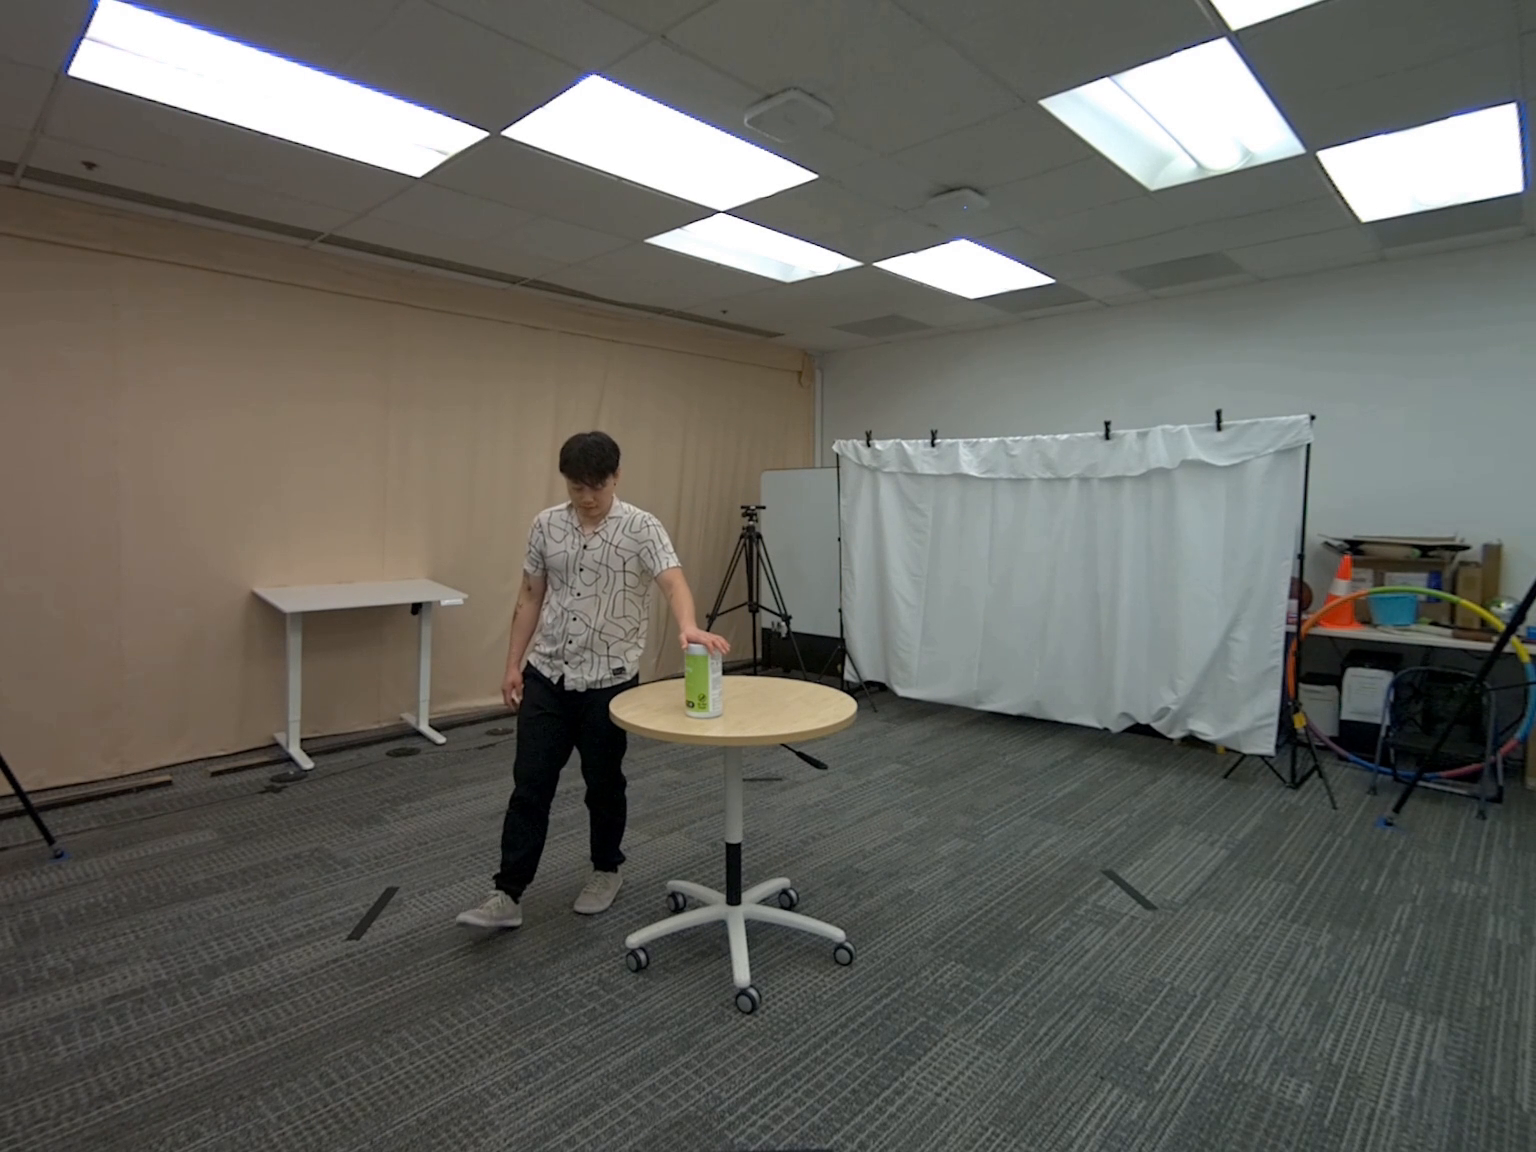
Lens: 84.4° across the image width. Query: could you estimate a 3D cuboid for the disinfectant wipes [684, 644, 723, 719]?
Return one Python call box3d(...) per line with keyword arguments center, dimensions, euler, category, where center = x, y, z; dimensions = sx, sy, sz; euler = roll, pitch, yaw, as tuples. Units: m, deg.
box3d(center=(-0.184, 0.306, 2.463), dimensions=(0.118, 0.217, 0.118), euler=(-1, 4, -2), category="disinfectant wipes")
